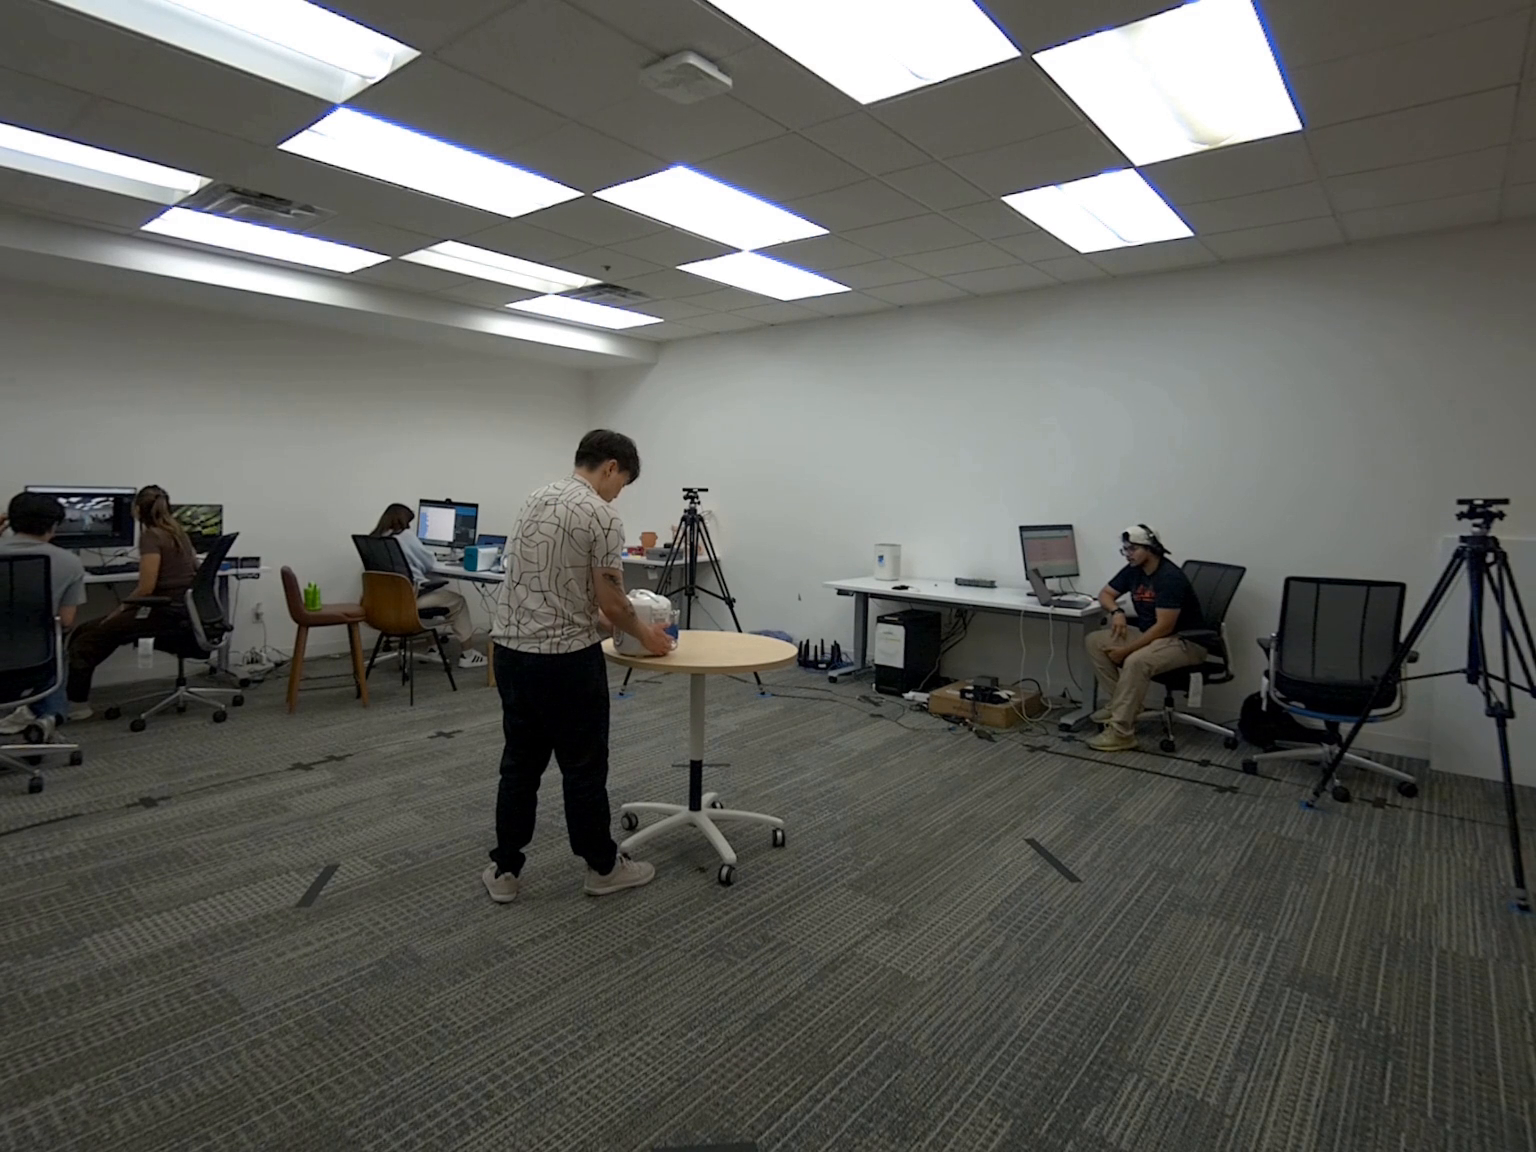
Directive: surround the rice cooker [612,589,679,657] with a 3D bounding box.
[{"bbox_3d":[-0.460,0.169,3.123,0.211,0.232,0.228,-1,5,-44],"label":"rice cooker"}]
